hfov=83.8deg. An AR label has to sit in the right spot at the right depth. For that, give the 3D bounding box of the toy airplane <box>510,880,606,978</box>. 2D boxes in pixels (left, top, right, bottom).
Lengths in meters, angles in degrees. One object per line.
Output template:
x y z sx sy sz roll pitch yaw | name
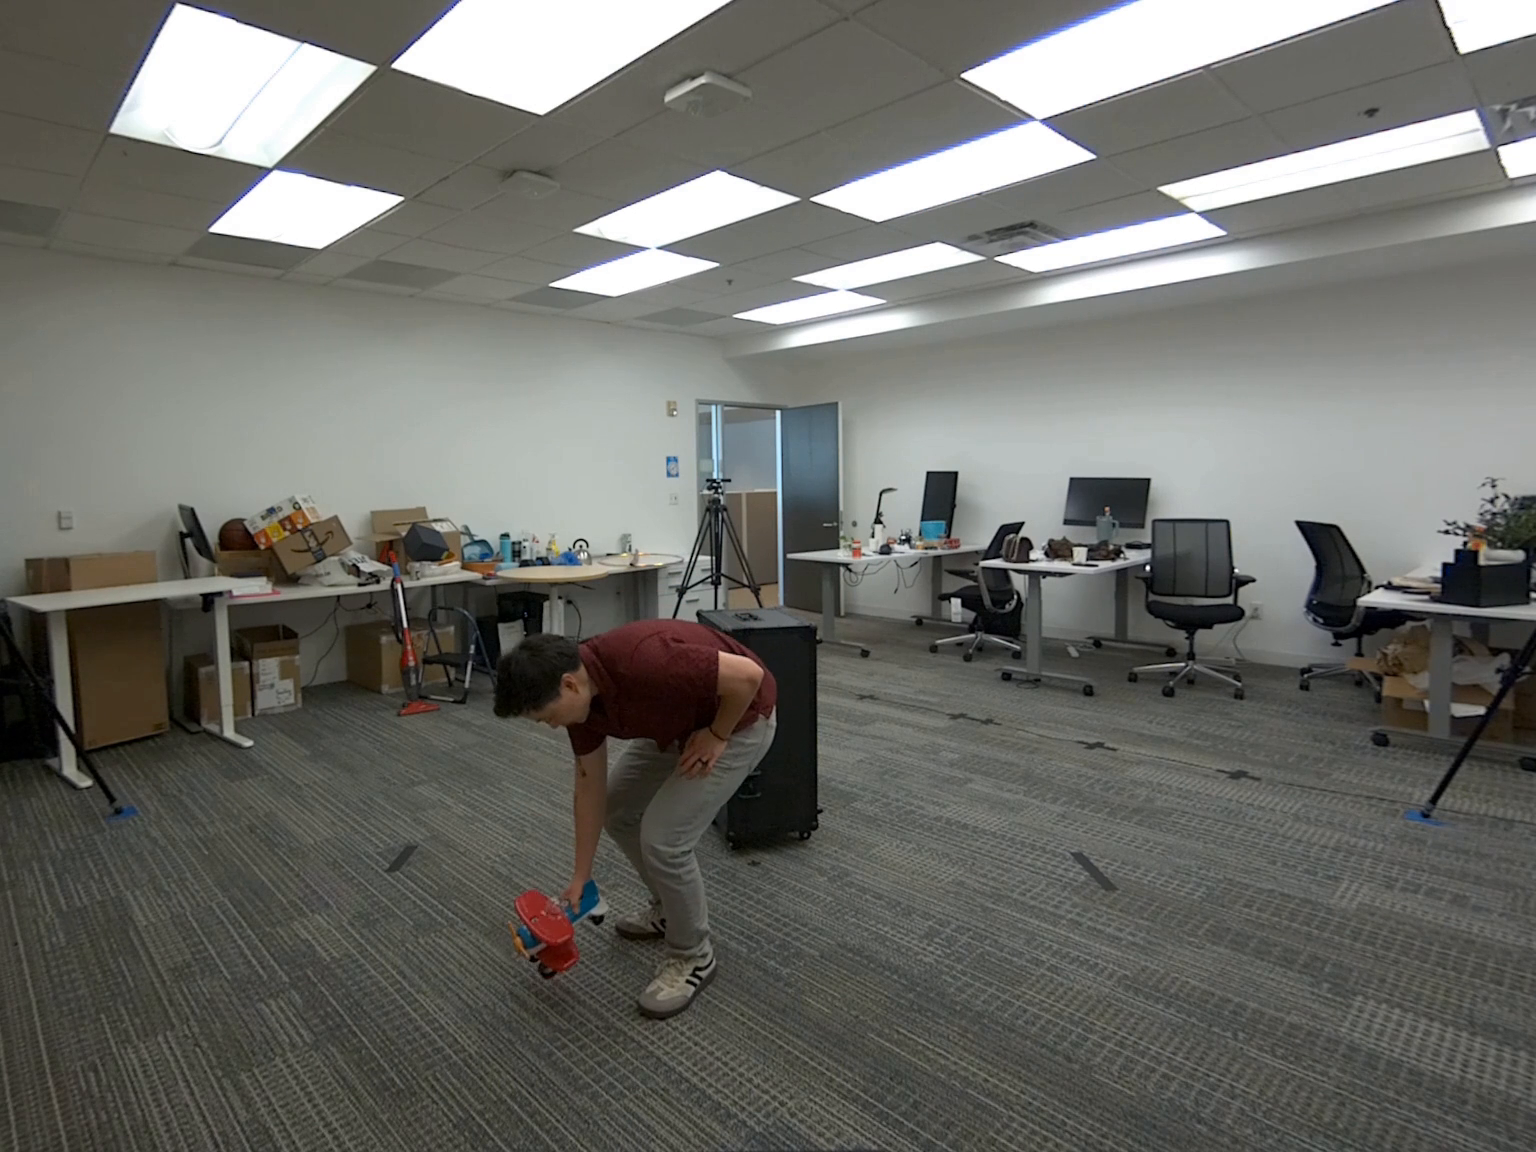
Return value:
-0.583 0.951 2.347 0.256 0.152 0.261 -6 29 27 | toy airplane
